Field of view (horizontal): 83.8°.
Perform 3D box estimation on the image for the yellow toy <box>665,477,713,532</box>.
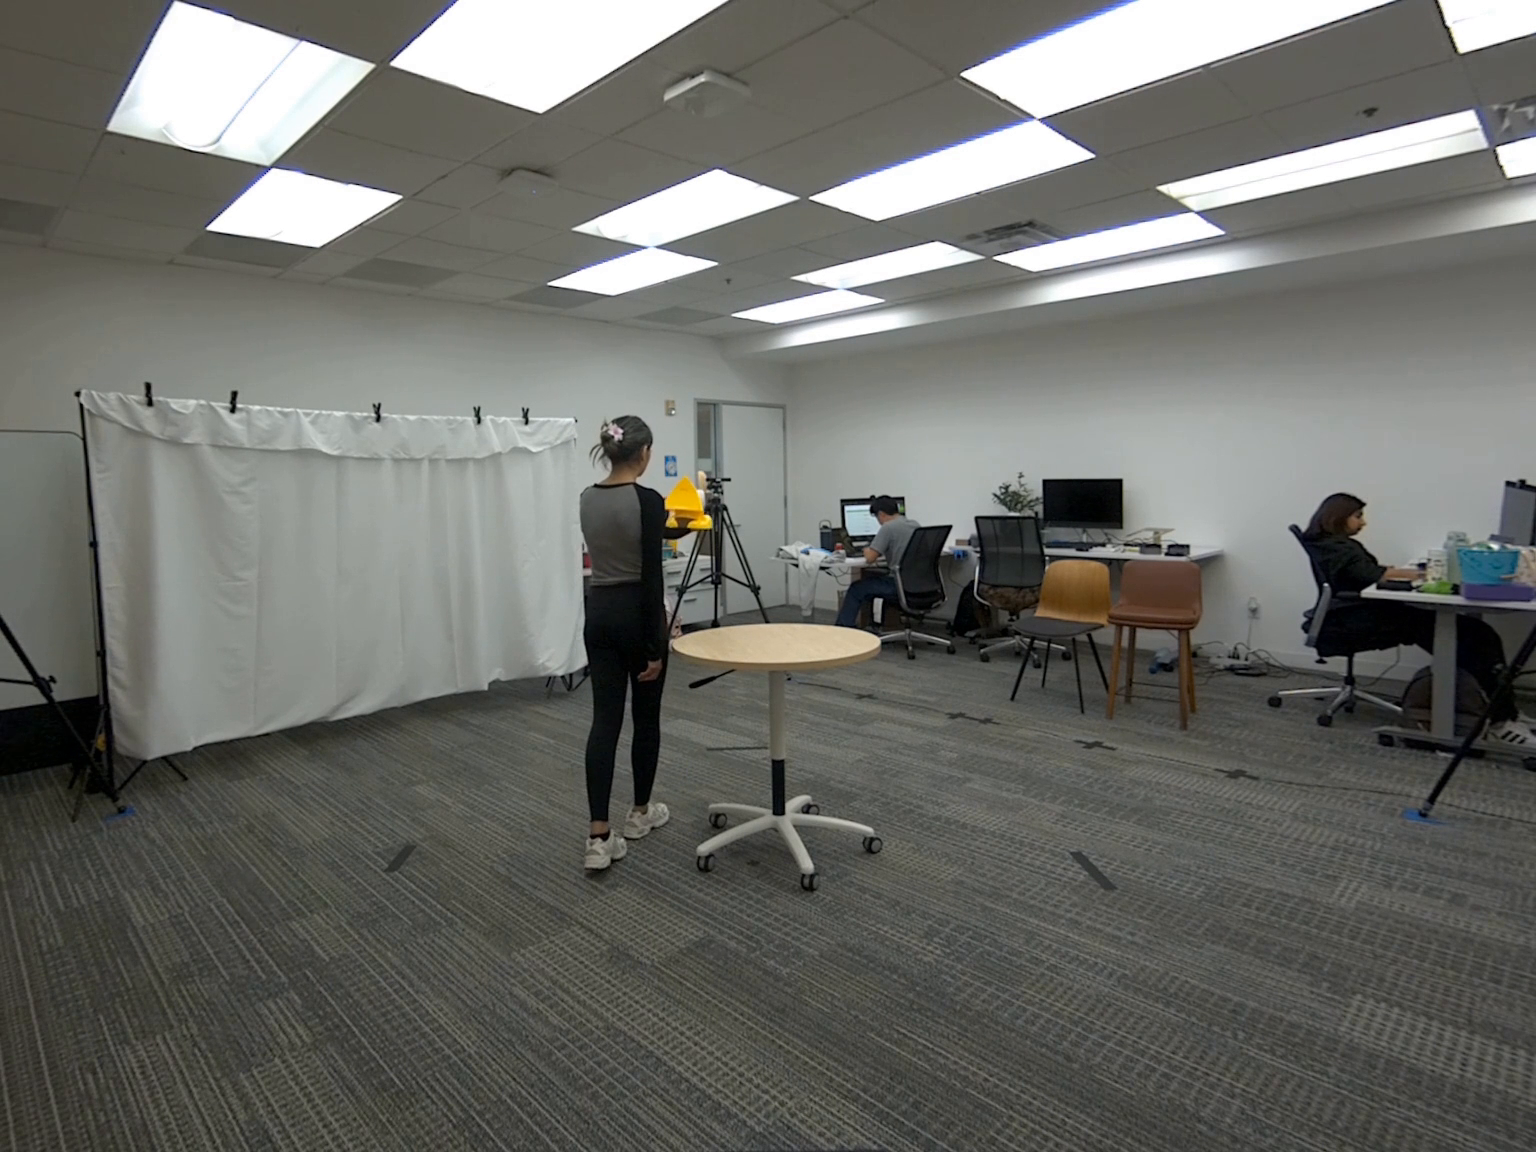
[{"bbox_3d":[-0.344,-0.331,3.788,0.209,0.230,0.190,4,4,19],"label":"yellow toy"}]
